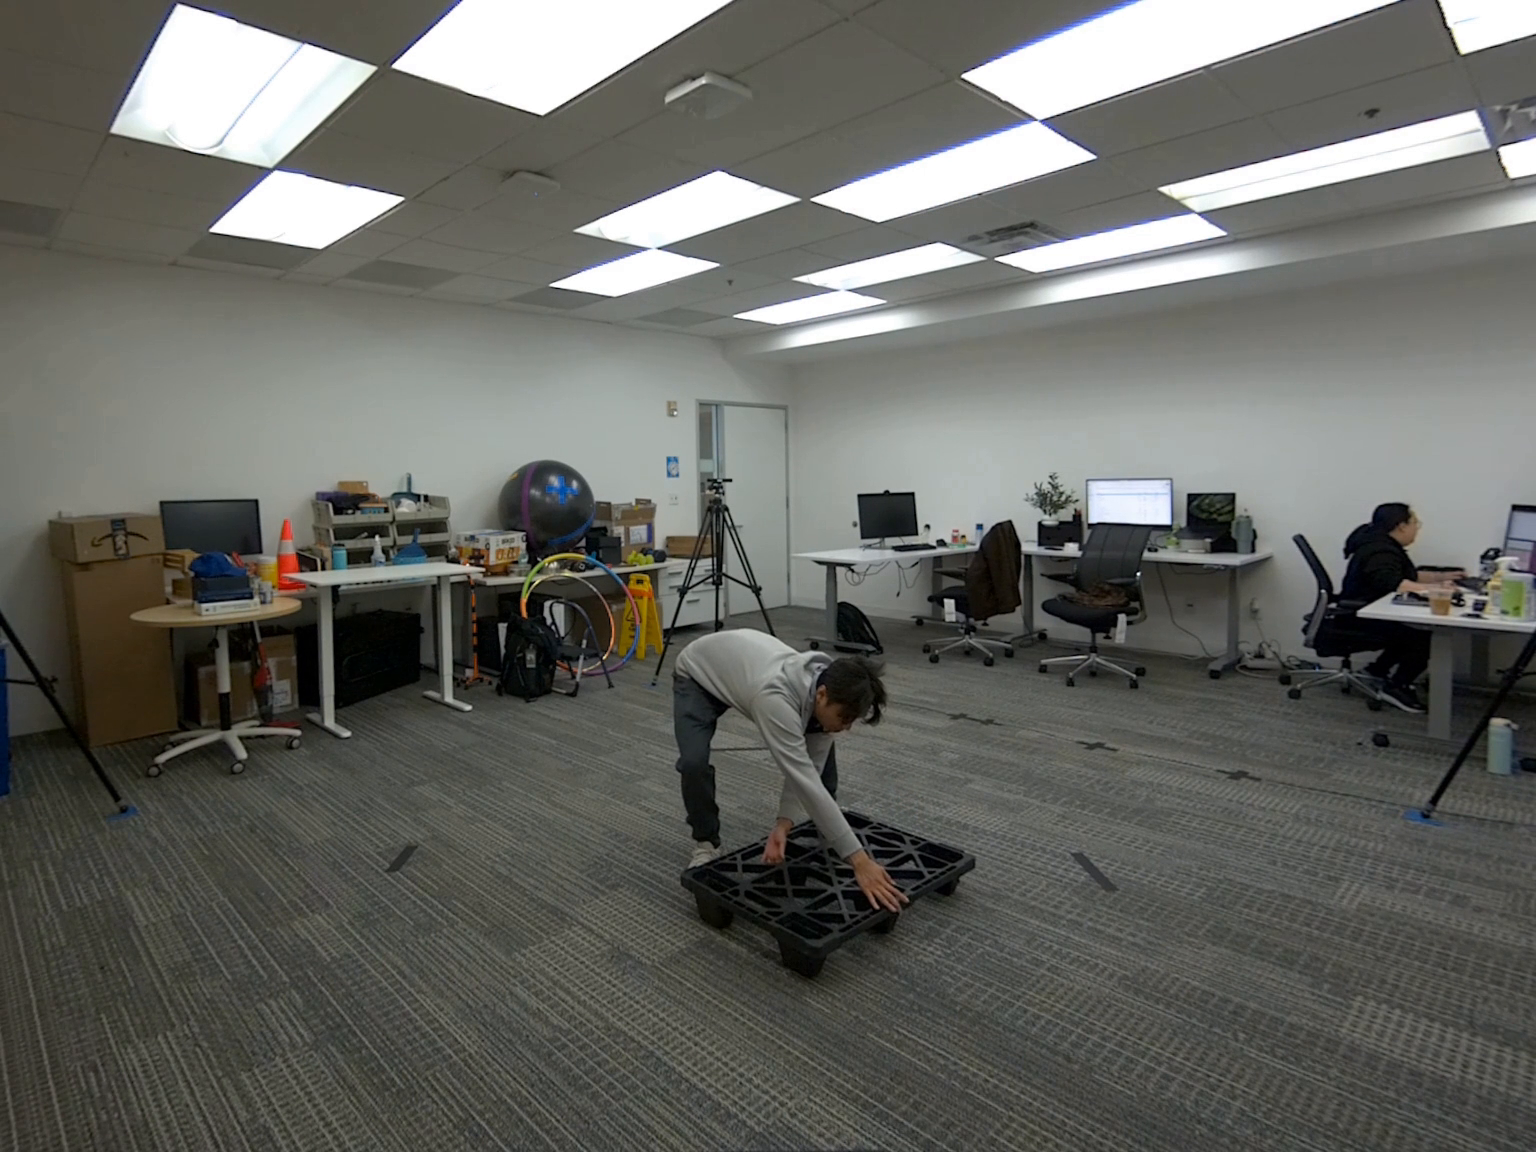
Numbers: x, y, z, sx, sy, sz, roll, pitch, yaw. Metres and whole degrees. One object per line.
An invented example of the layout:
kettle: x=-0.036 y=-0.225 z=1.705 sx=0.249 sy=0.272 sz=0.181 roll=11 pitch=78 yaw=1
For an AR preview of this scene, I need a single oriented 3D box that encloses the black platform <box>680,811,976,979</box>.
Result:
black platform: x=0.200 y=1.011 z=2.790 sx=0.784 sy=0.143 sz=0.624 roll=-7 pitch=9 yaw=-43
